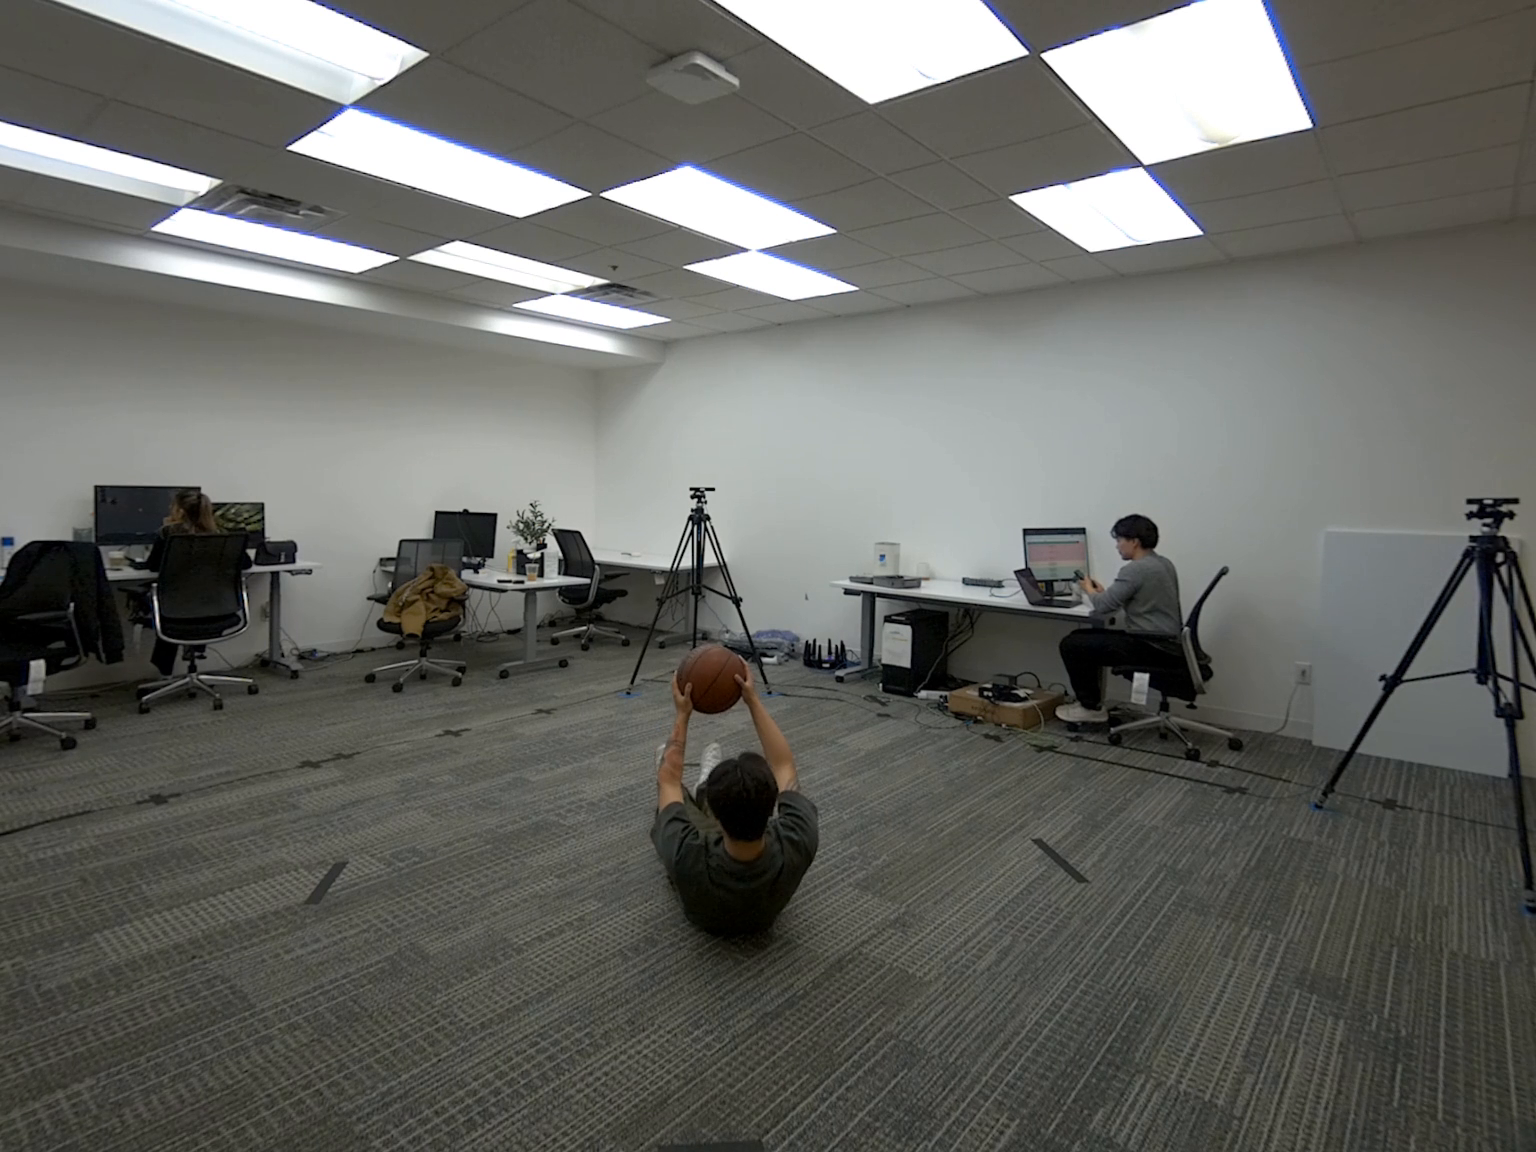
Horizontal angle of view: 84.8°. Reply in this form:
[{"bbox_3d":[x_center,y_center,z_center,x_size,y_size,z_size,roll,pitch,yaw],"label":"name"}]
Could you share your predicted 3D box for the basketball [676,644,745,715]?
[{"bbox_3d":[-0.198,0.354,2.936,0.235,0.235,0.237,1,4,-2],"label":"basketball"}]
